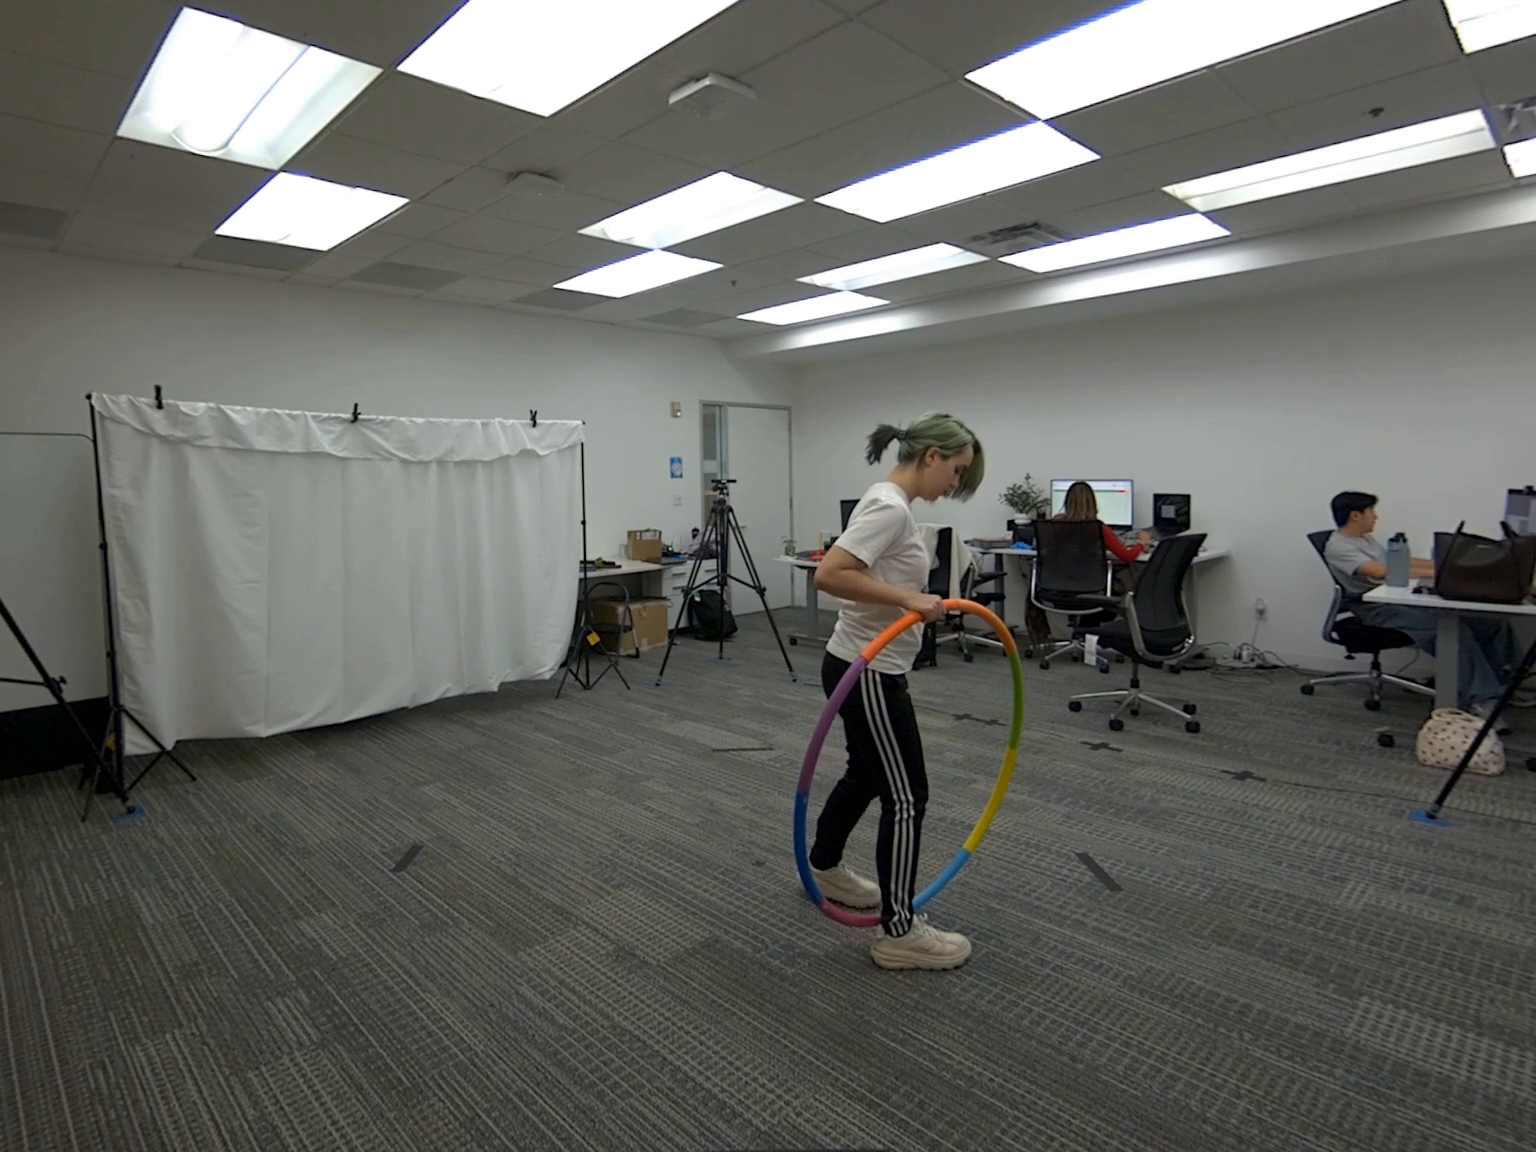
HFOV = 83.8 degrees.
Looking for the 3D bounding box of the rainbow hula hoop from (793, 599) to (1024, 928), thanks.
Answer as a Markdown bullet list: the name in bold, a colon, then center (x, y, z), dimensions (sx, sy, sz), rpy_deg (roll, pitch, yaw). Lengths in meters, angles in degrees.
- **rainbow hula hoop**: center (0.446, 0.550, 2.475), dimensions (0.953, 0.969, 0.037), rpy_deg (-5, 15, -40)
